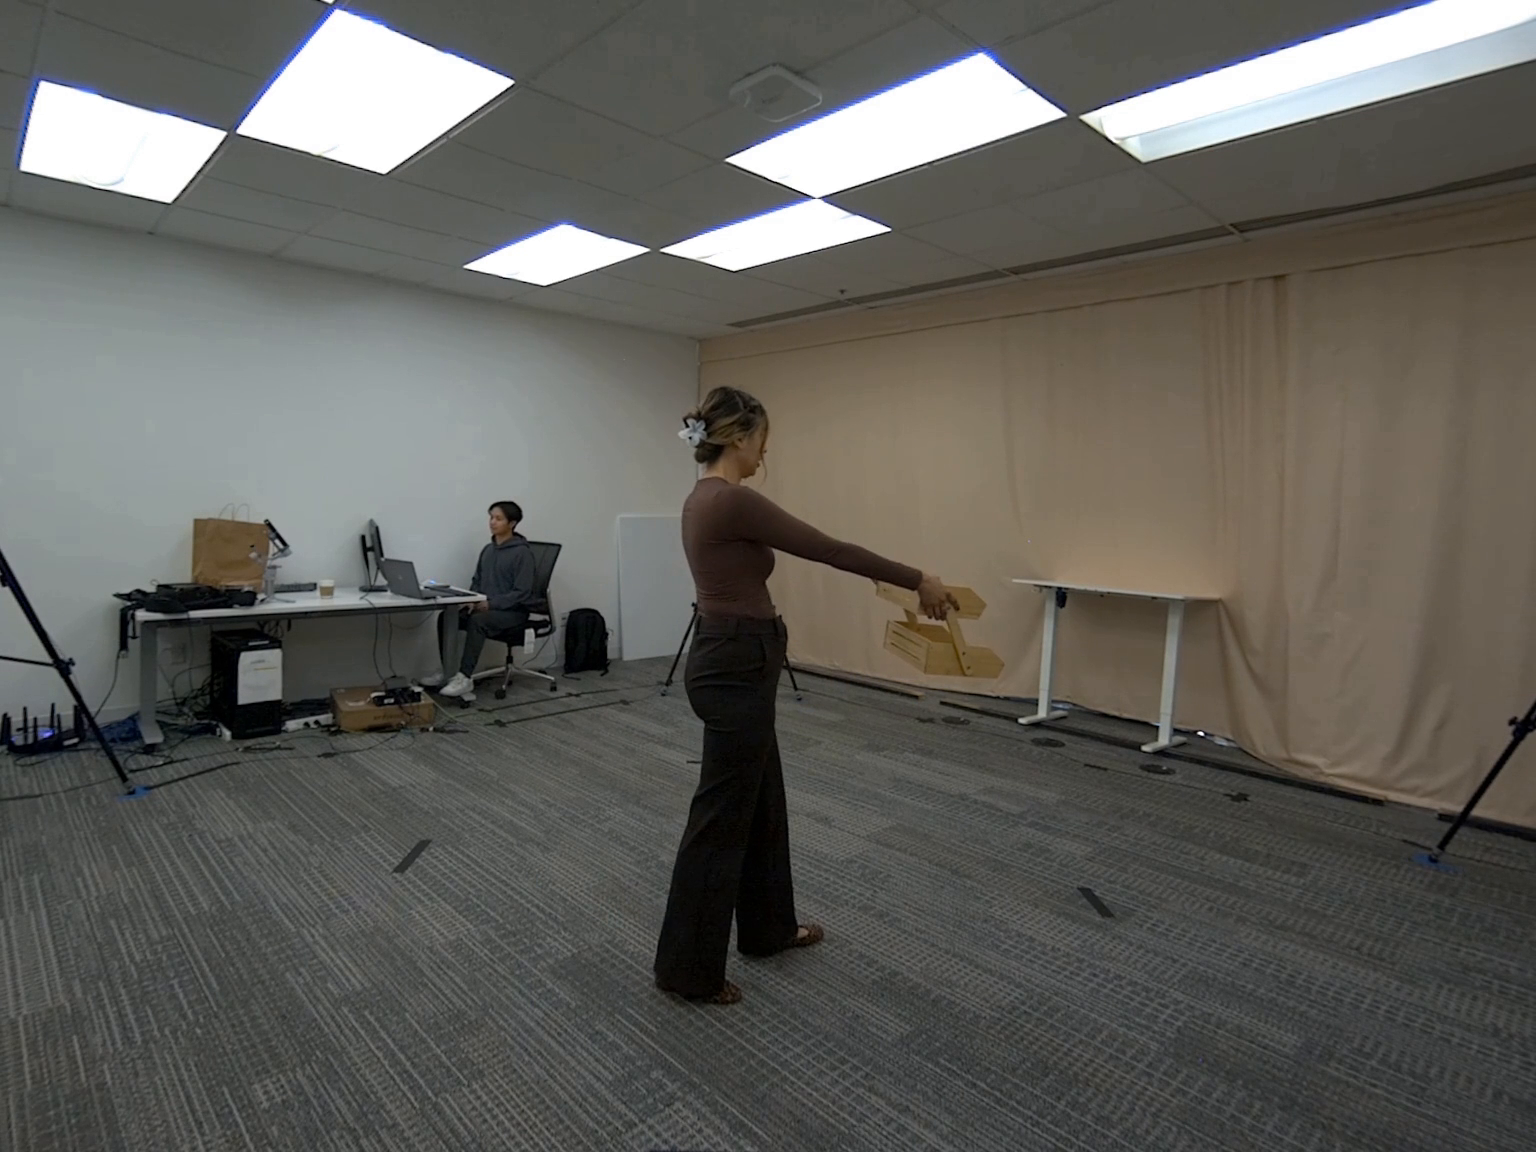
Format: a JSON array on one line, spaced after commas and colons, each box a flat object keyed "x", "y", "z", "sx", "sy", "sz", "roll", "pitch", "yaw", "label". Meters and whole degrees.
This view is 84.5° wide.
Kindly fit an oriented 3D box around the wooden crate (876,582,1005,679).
[{"x": 0.511, "y": 0.131, "z": 2.533, "sx": 0.300, "sy": 0.272, "sz": 0.327, "roll": 6, "pitch": 6, "yaw": -6, "label": "wooden crate"}]
